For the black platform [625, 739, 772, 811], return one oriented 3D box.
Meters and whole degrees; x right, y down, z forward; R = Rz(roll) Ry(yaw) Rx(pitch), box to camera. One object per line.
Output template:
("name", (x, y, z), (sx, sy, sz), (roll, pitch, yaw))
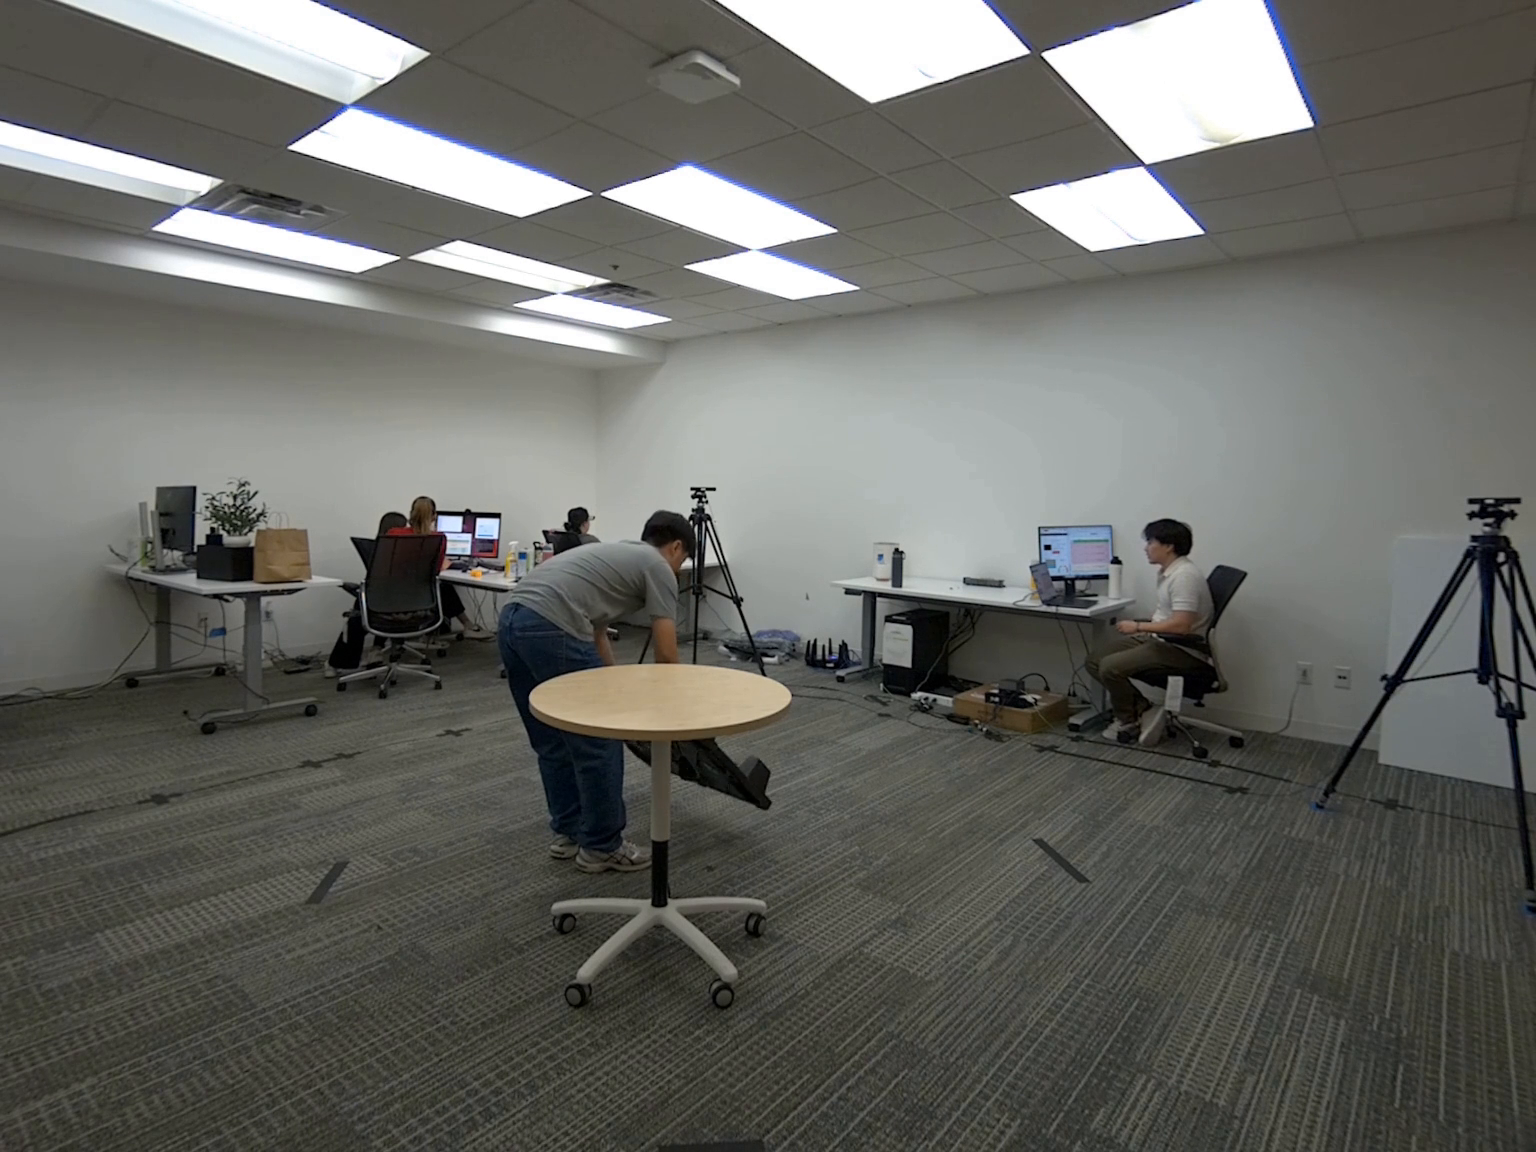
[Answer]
("black platform", (-0.406, 0.632, 3.487), (0.833, 0.144, 0.582), (5, -39, 46))
